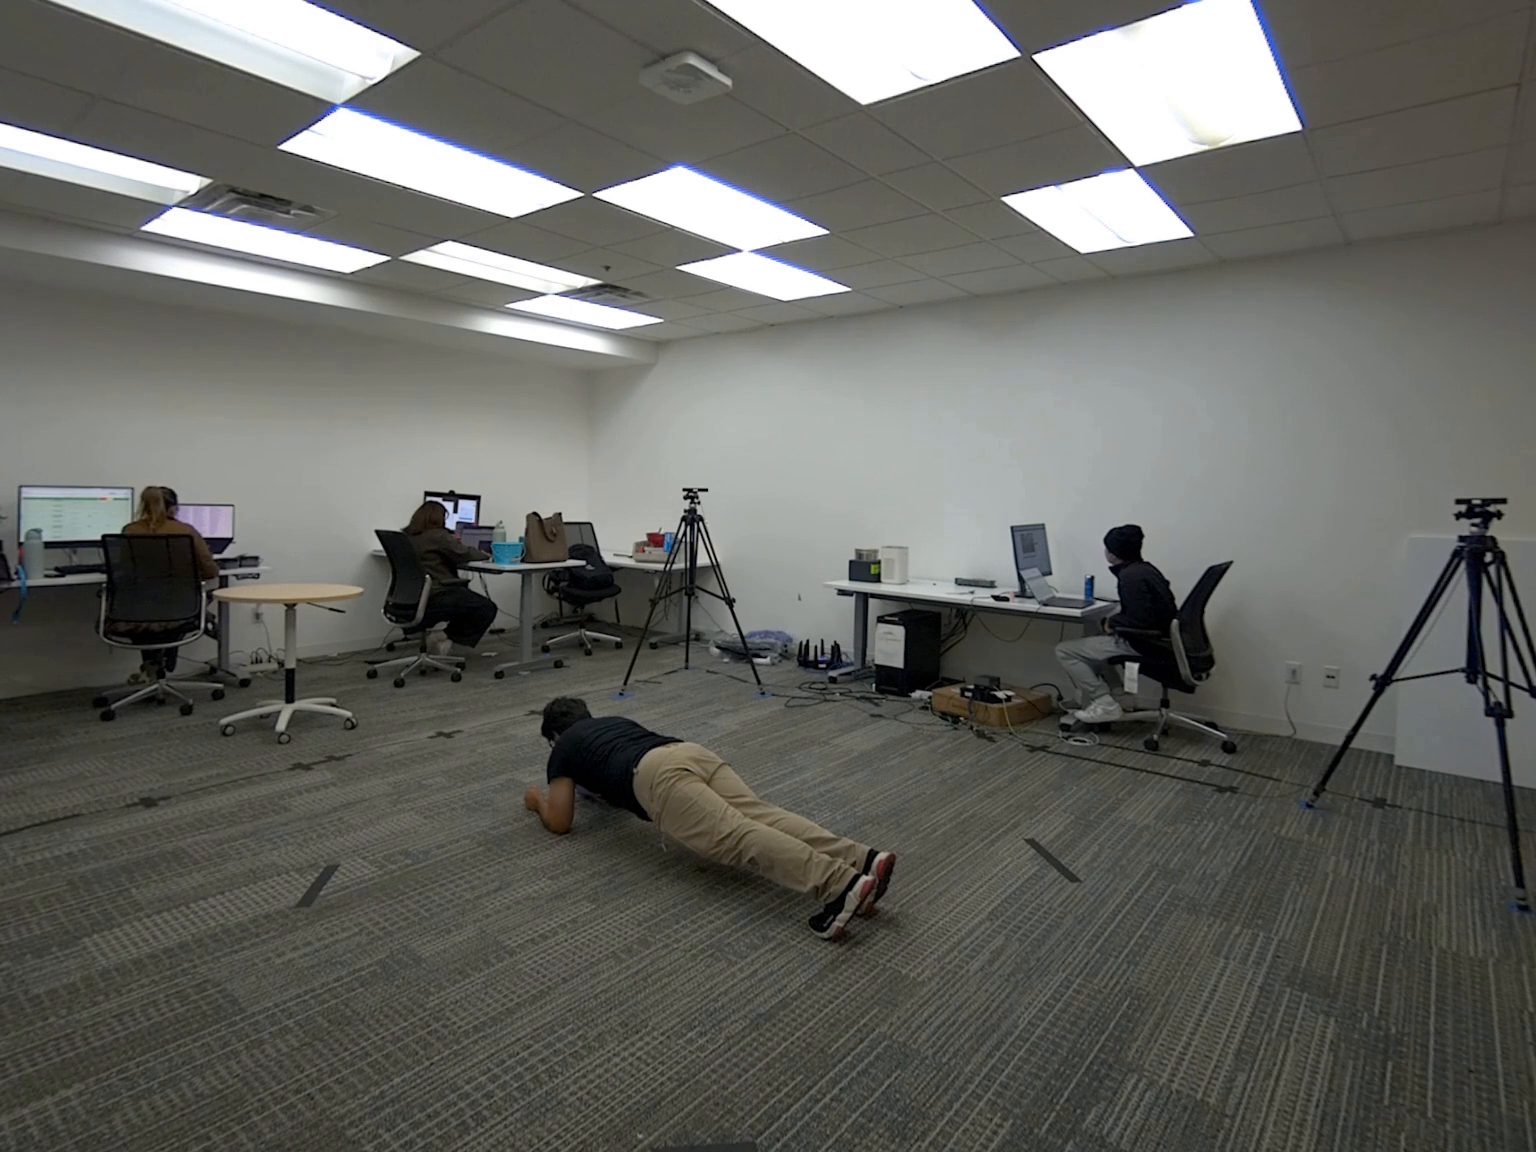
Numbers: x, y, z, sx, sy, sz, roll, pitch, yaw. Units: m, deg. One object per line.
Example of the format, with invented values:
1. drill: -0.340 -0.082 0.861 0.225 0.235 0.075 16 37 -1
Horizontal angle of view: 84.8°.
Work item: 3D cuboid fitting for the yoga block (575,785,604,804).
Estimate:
1. yoga block: -0.762 0.888 3.763 0.074 0.149 0.236 -3 -2 -44
